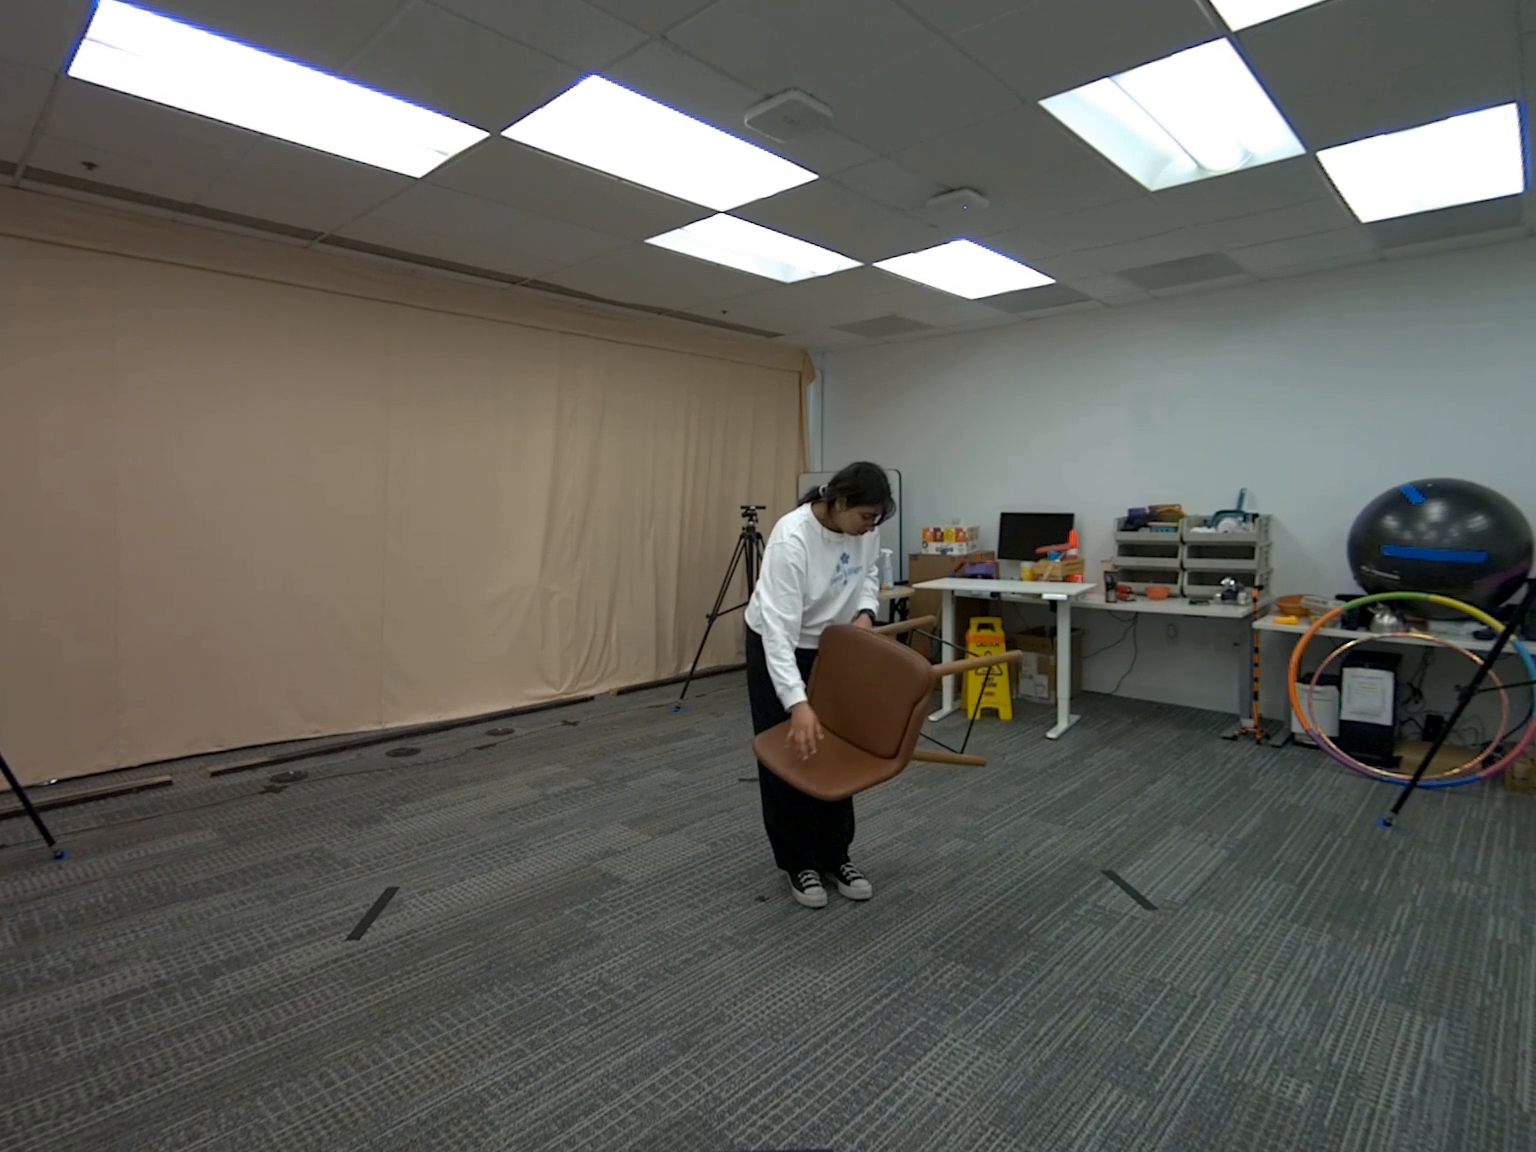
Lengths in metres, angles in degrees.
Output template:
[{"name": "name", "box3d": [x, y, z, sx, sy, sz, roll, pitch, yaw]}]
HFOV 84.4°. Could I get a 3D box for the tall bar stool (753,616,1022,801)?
[{"name": "tall bar stool", "box3d": [0.431, 0.428, 2.875, 0.861, 0.465, 0.473, 1, 16, -44]}]
